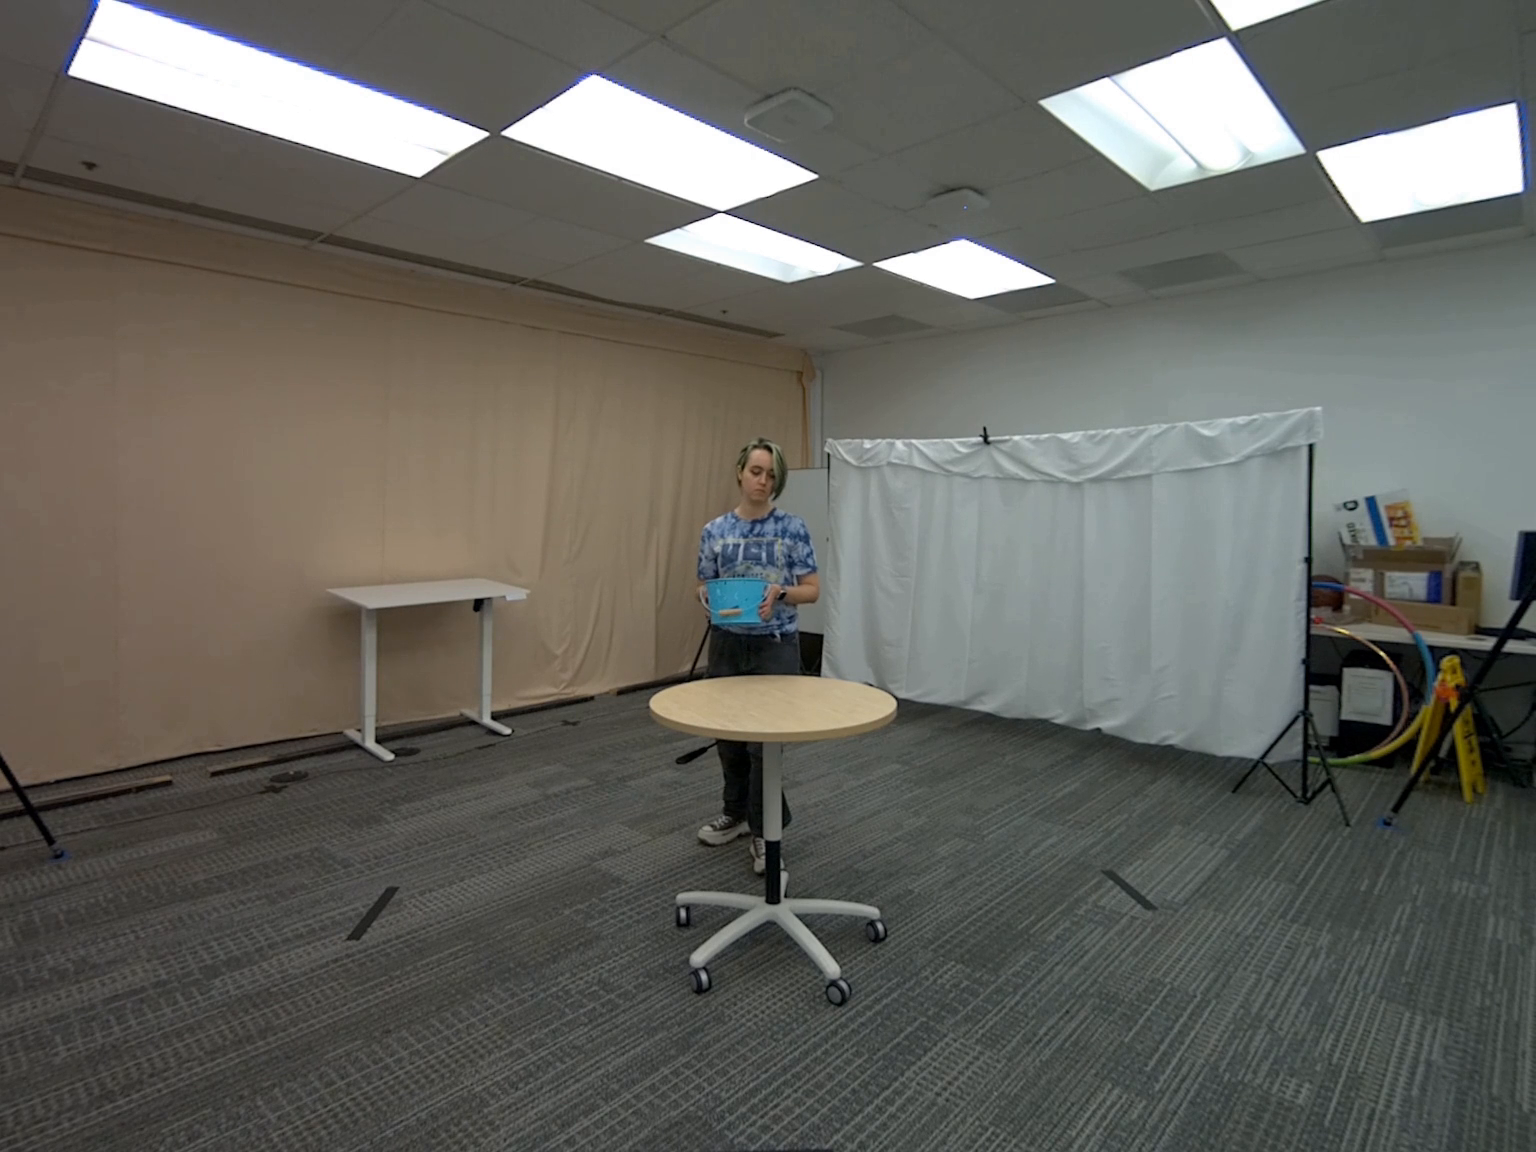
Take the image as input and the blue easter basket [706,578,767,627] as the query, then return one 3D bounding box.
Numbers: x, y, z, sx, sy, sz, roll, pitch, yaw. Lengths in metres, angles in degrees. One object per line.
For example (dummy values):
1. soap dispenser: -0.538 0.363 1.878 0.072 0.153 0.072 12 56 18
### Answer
1. blue easter basket: -0.072 0.112 3.115 0.243 0.156 0.243 2 -6 -2
